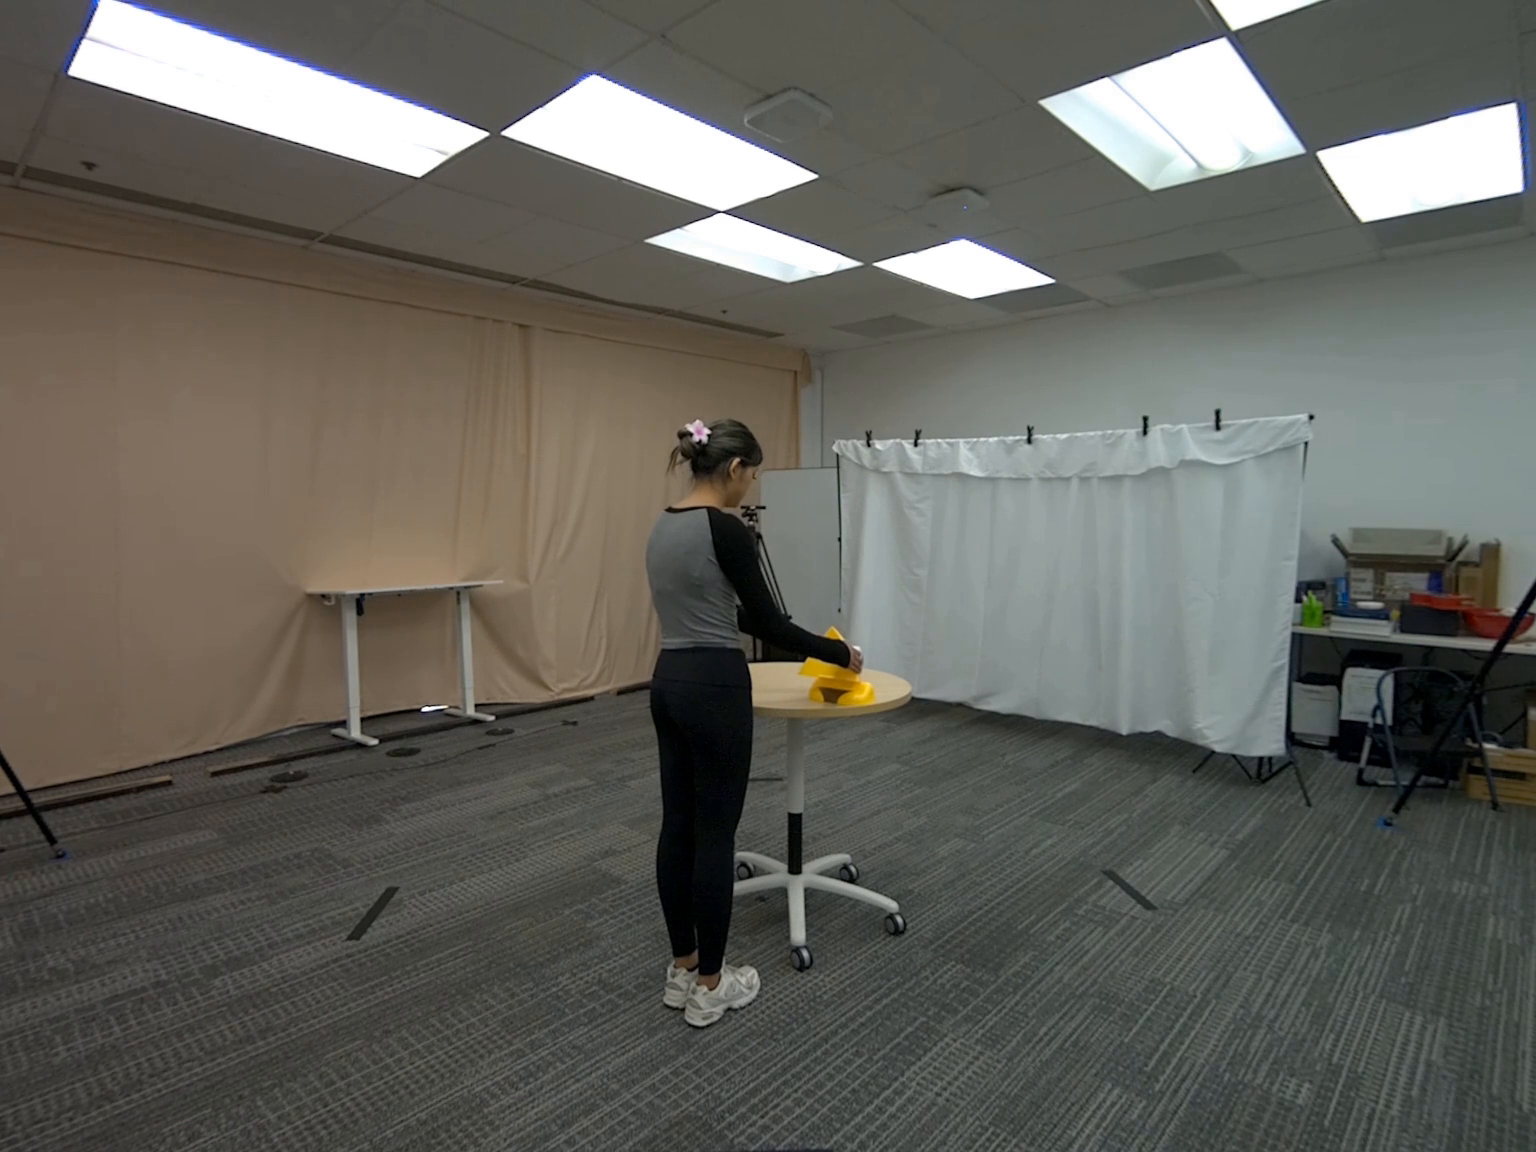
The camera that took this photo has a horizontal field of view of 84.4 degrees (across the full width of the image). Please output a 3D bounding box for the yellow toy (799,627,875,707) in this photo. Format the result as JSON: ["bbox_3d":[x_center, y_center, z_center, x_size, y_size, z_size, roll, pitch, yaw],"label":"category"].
[{"bbox_3d":[0.225,0.267,2.589,0.211,0.230,0.187,2,2,33],"label":"yellow toy"}]
